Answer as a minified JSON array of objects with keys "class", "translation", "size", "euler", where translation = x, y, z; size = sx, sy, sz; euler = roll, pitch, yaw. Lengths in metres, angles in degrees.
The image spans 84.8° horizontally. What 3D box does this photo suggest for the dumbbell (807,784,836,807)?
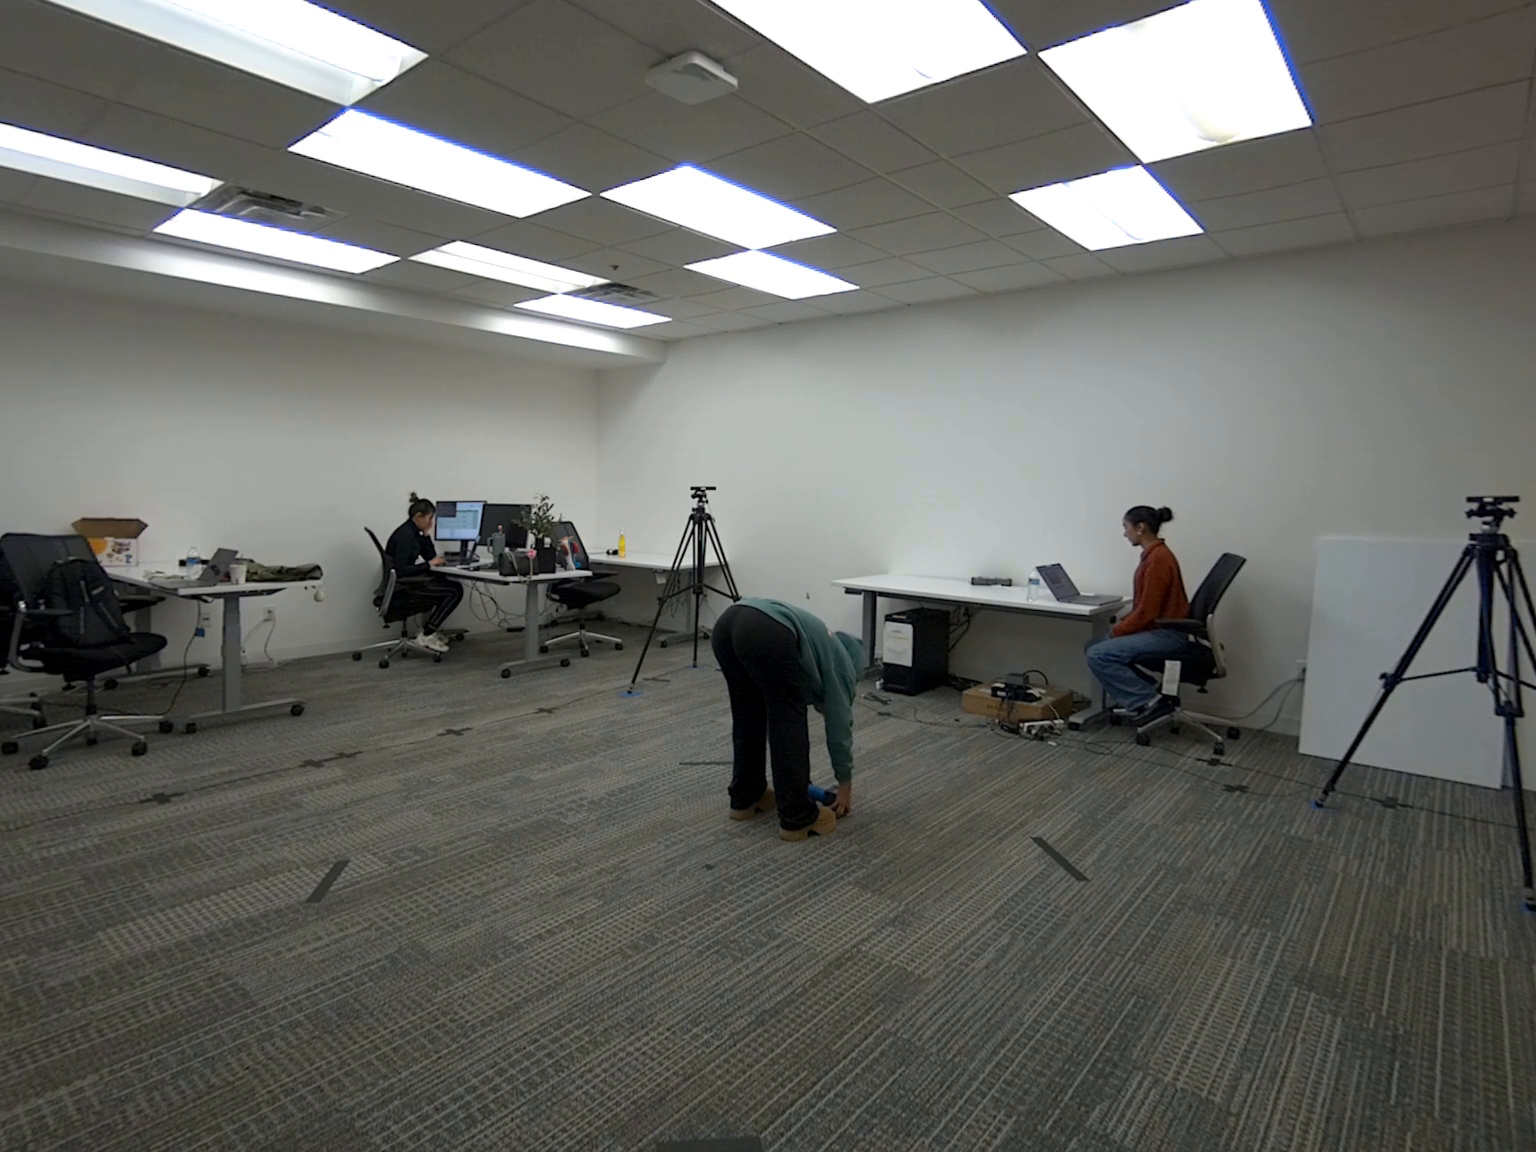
[{"class":"dumbbell","translation":[0.206,0.954,3.726],"size":[0.304,0.124,0.104],"euler":[8,-15,44]}]
